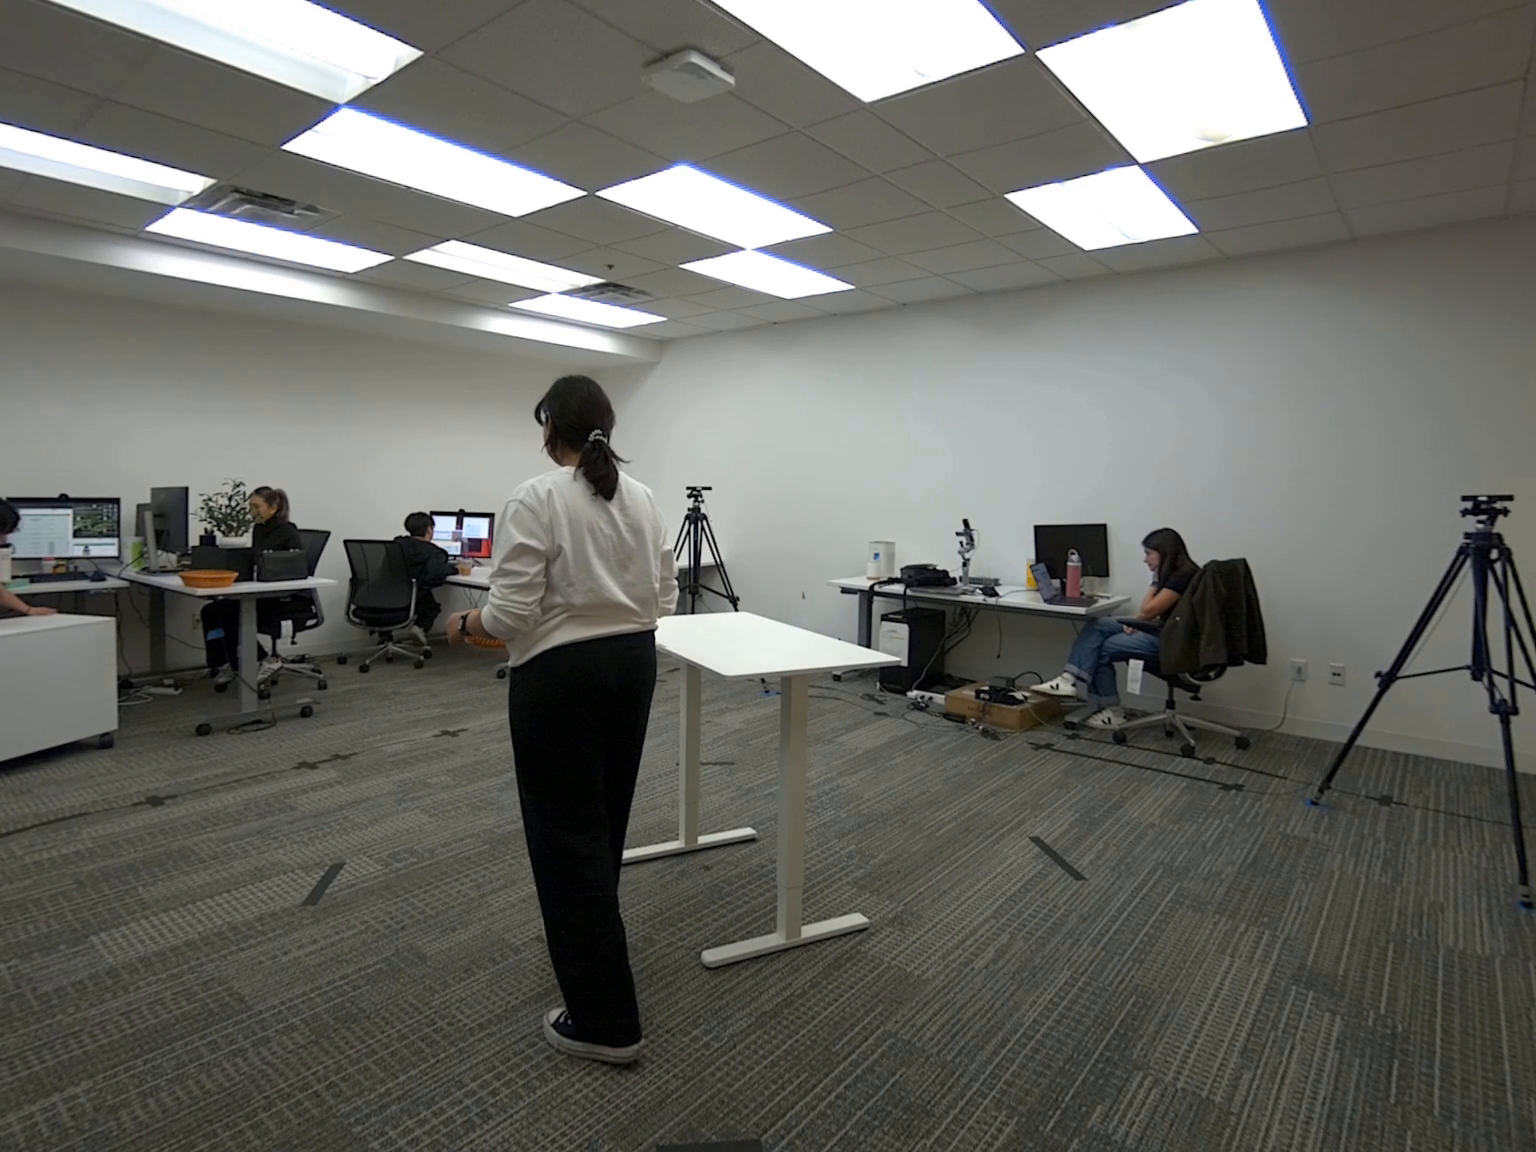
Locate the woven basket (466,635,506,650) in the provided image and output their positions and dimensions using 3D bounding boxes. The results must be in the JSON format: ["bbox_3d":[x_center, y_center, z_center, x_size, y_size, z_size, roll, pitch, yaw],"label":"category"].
[{"bbox_3d":[-0.727,0.164,2.357,0.345,0.074,0.255,5,-3,-13],"label":"woven basket"}]
